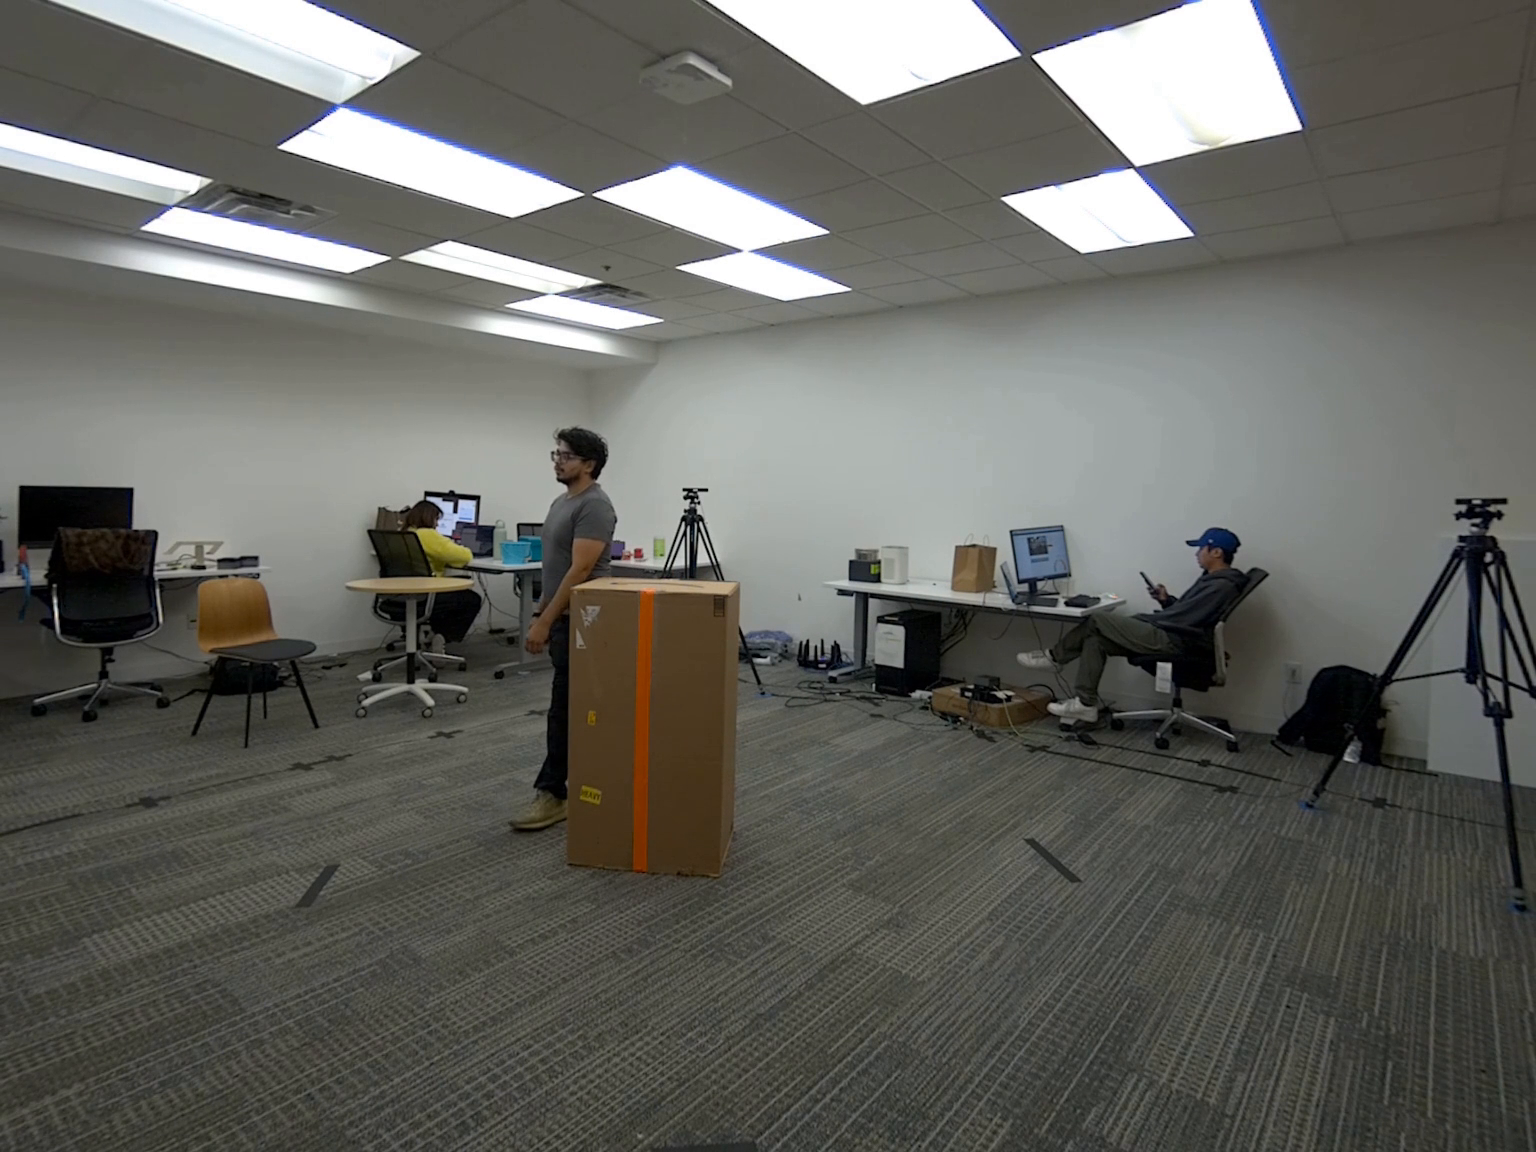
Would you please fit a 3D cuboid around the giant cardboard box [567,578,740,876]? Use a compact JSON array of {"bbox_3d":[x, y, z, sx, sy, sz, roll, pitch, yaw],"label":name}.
[{"bbox_3d":[-0.433,0.541,3.257,0.583,1.023,0.424,2,3,7],"label":"giant cardboard box"}]
